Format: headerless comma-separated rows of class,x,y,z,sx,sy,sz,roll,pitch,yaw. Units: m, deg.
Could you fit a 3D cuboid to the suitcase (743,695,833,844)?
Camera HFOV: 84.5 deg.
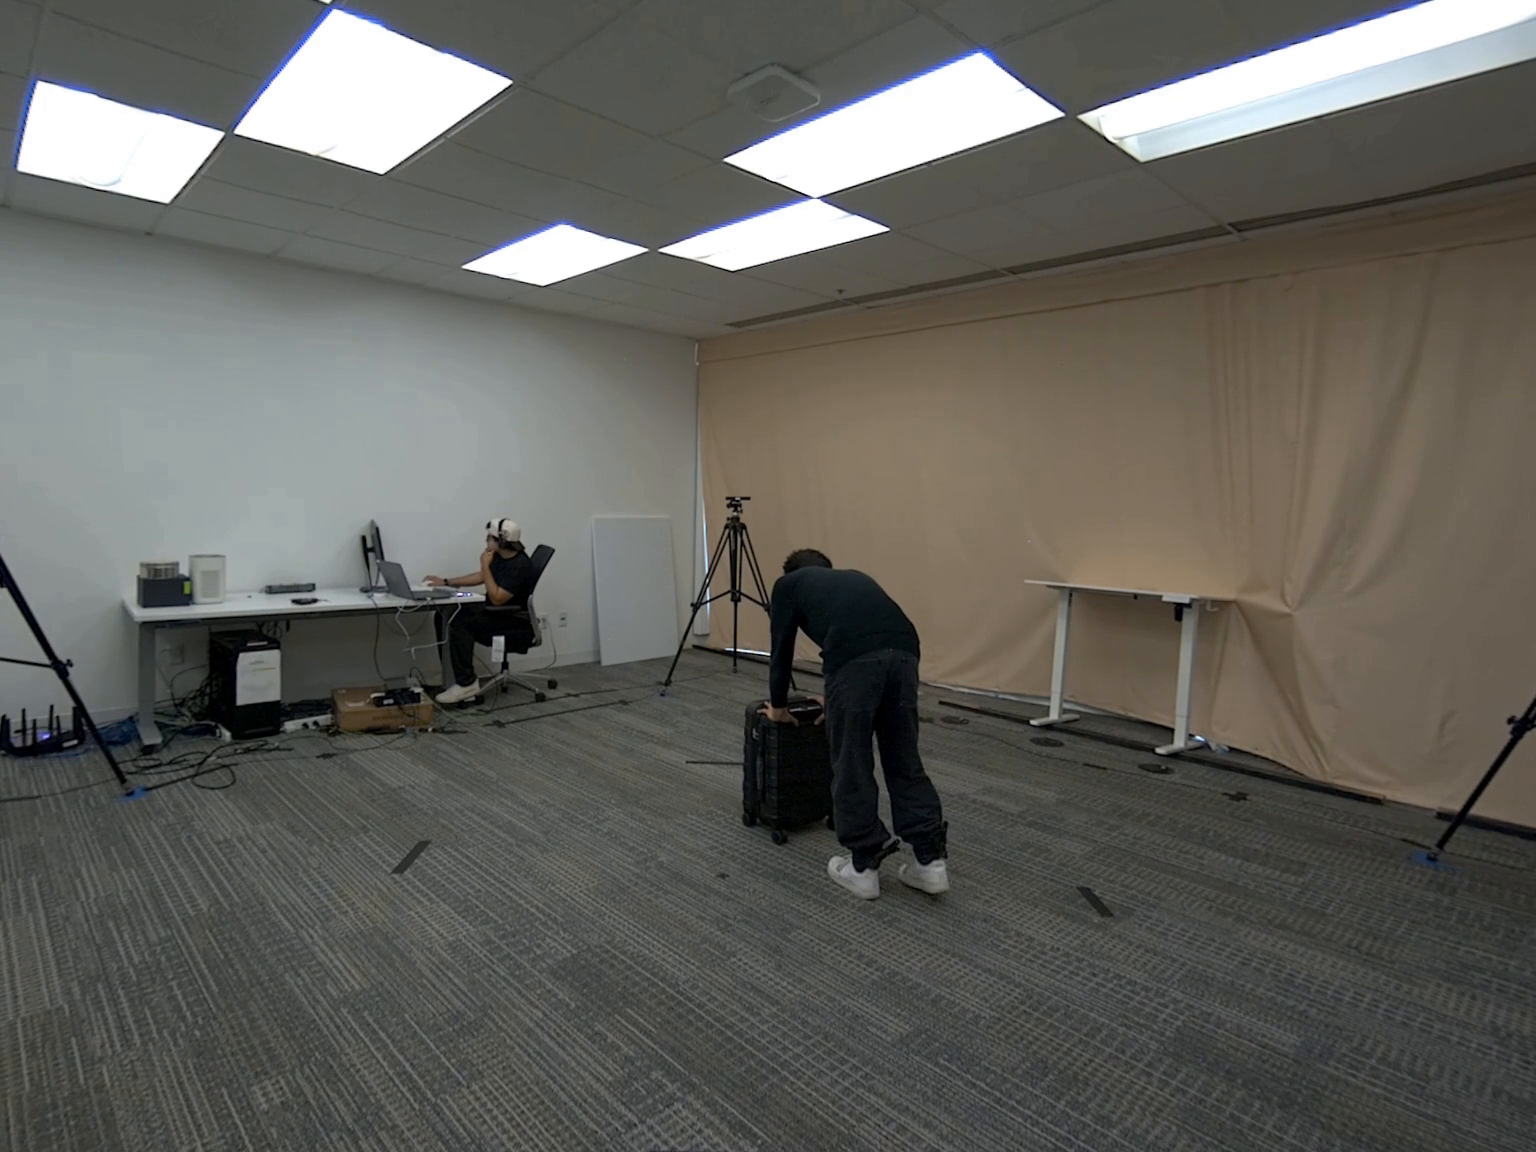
suitcase,0.083,0.795,3.590,0.367,0.549,0.254,-2,2,-33
